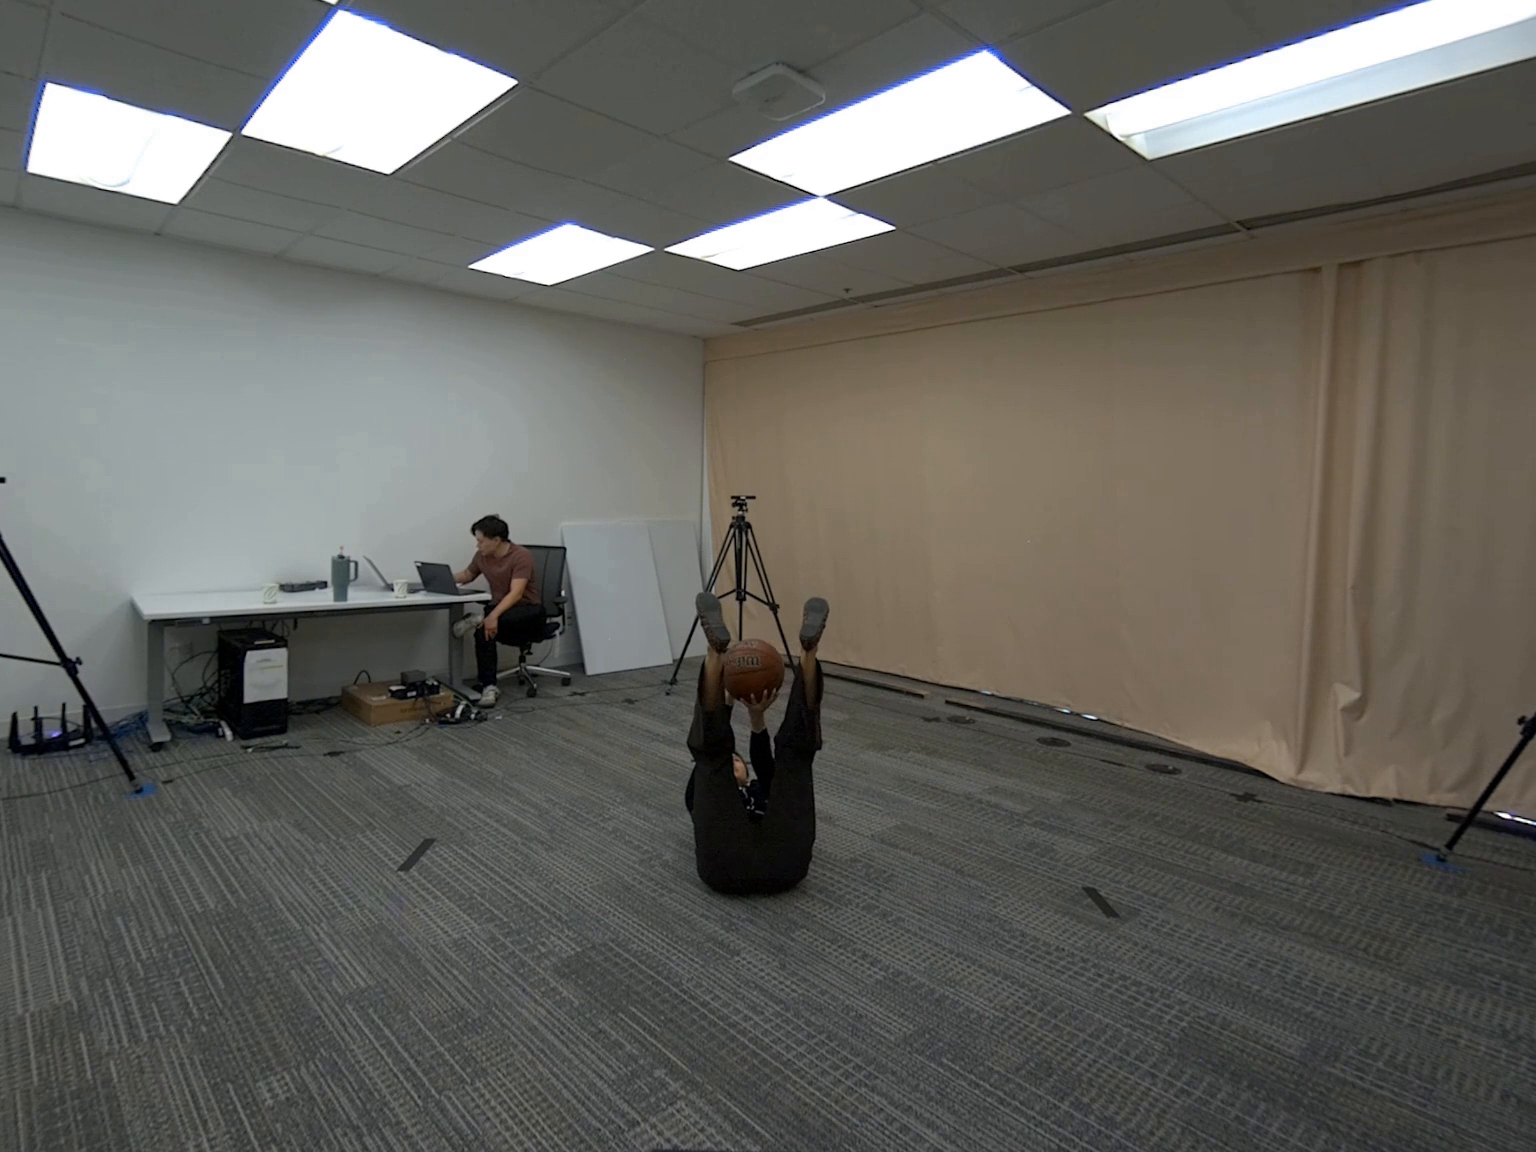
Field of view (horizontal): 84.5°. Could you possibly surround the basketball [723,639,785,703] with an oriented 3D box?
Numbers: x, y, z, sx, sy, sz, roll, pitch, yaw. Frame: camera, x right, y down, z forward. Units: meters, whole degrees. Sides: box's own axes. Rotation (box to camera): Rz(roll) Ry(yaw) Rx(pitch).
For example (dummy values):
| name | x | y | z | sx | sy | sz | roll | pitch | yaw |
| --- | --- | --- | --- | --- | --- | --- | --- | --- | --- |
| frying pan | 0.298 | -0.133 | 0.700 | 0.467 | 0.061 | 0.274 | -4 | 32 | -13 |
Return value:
| name | x | y | z | sx | sy | sz | roll | pitch | yaw |
| --- | --- | --- | --- | --- | --- | --- | --- | --- | --- |
| basketball | -0.063 | 0.356 | 3.077 | 0.236 | 0.235 | 0.237 | 1 | 4 | -1 |
